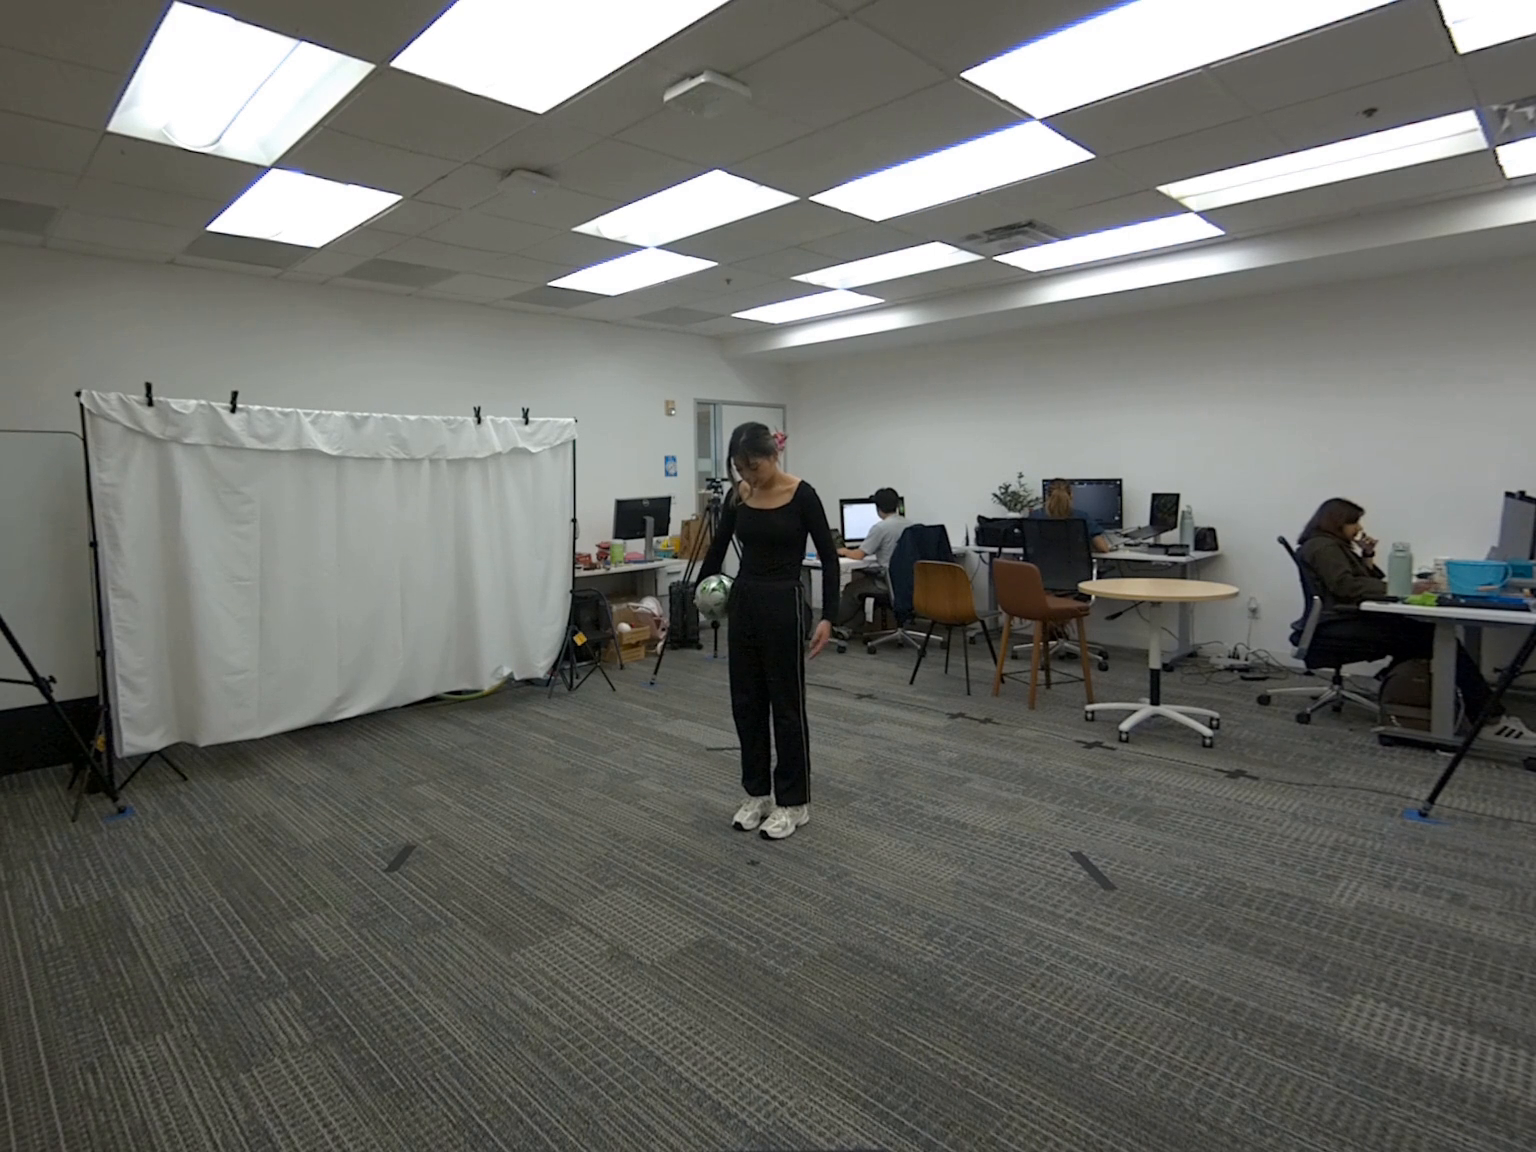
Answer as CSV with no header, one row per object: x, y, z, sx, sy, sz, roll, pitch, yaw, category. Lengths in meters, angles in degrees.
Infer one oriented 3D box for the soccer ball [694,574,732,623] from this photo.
-0.211,0.086,3.558,0.187,0.187,0.188,-1,5,-2,soccer ball
